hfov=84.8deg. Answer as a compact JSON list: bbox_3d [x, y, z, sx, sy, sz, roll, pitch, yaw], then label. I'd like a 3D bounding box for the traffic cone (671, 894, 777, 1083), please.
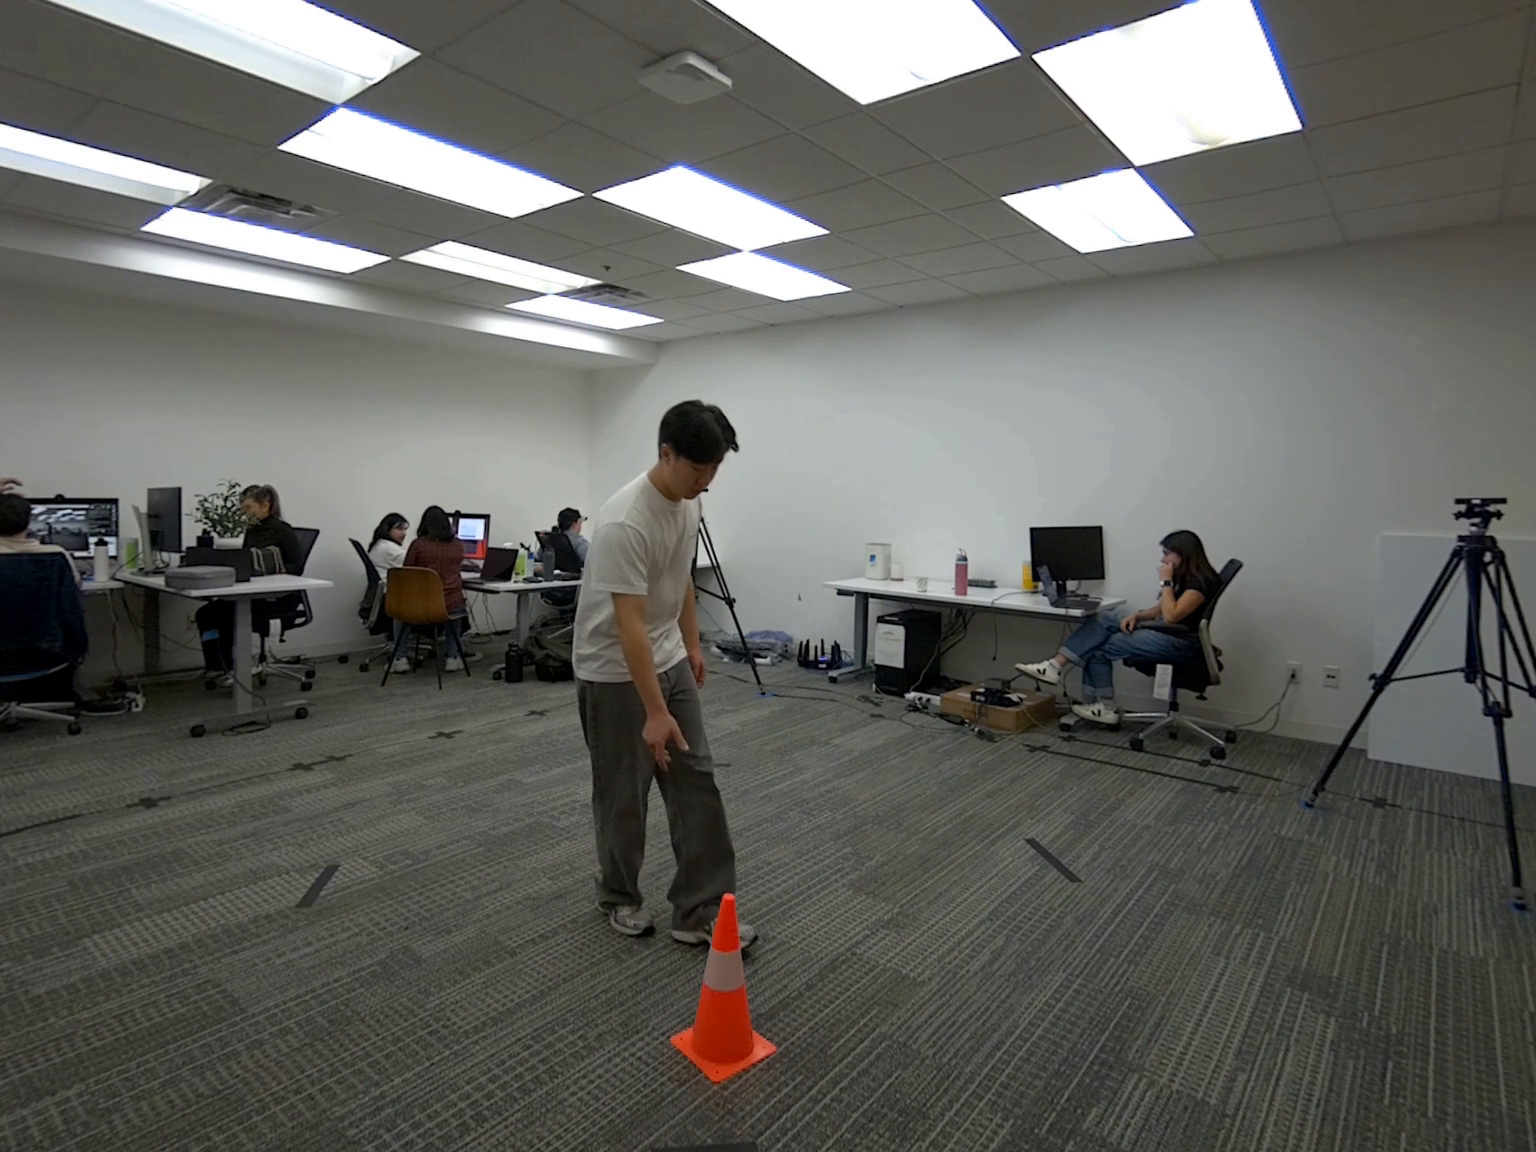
[{"bbox_3d":[-0.103,0.983,2.117,0.197,0.382,0.212,-1,5,-41],"label":"traffic cone"}]
